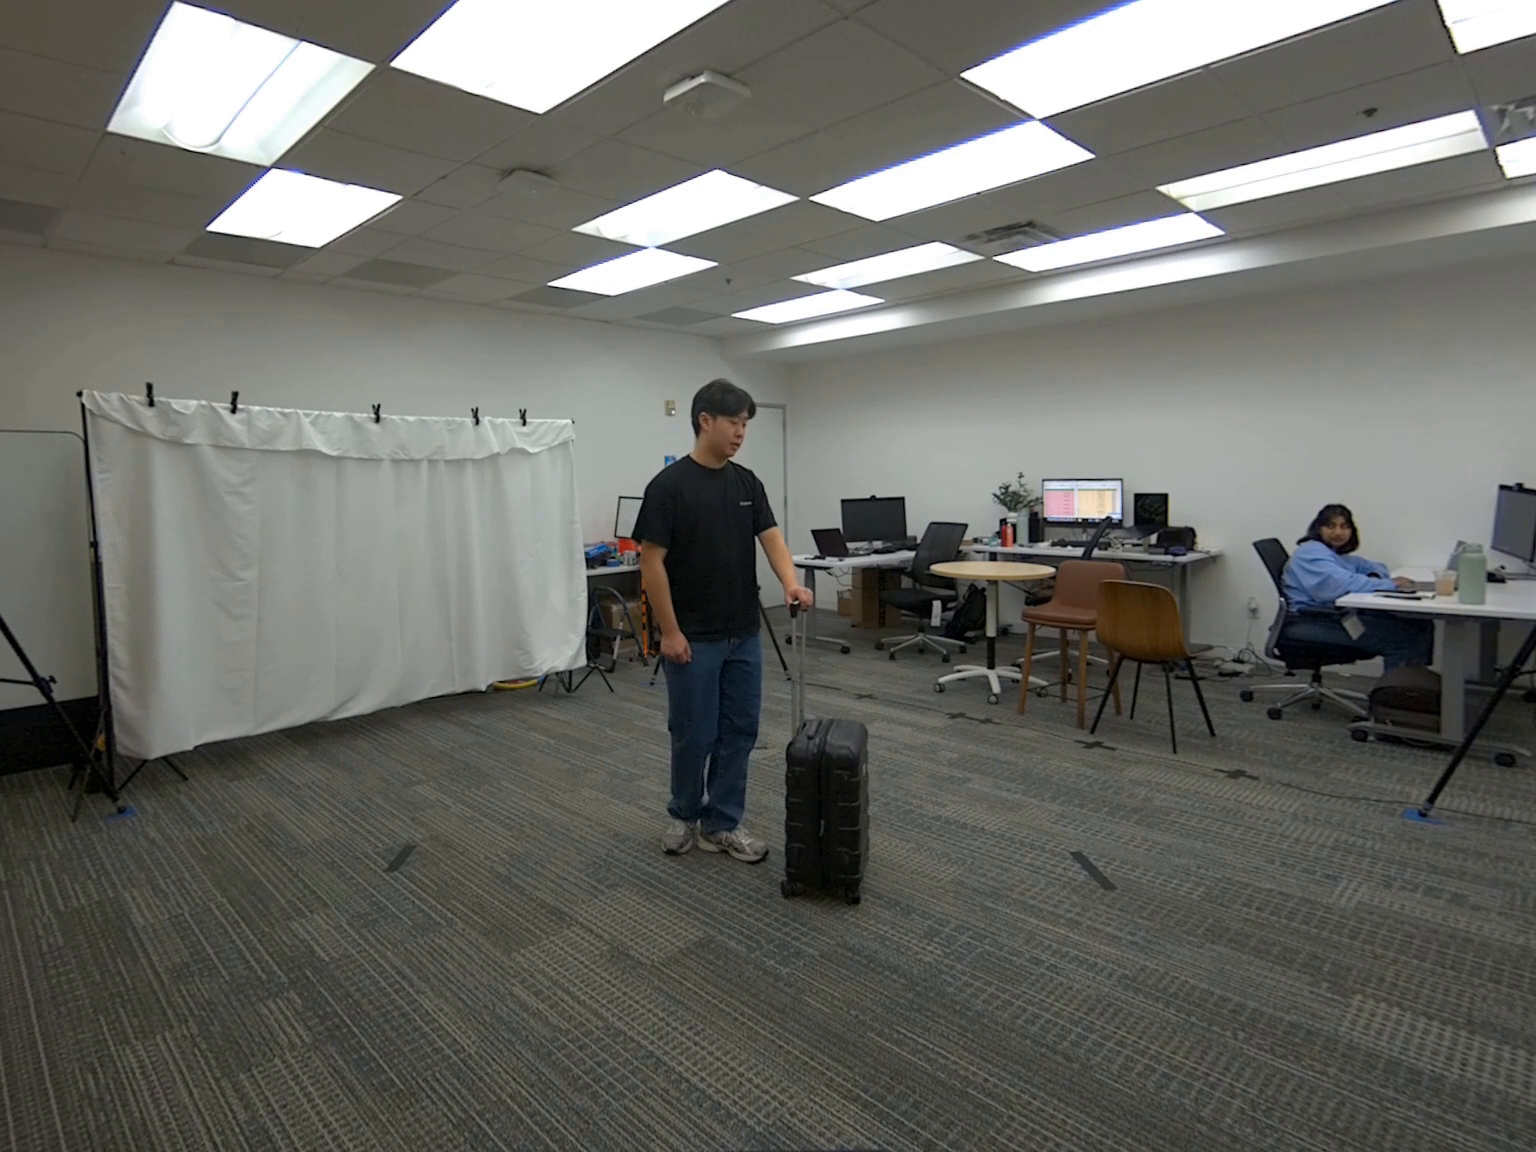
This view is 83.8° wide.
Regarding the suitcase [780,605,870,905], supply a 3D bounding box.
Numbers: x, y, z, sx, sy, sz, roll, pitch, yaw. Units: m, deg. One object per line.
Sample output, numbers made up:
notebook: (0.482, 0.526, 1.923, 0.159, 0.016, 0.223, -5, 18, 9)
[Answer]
suitcase: (0.220, 0.581, 2.907, 0.260, 0.973, 0.381, 2, 6, 11)
